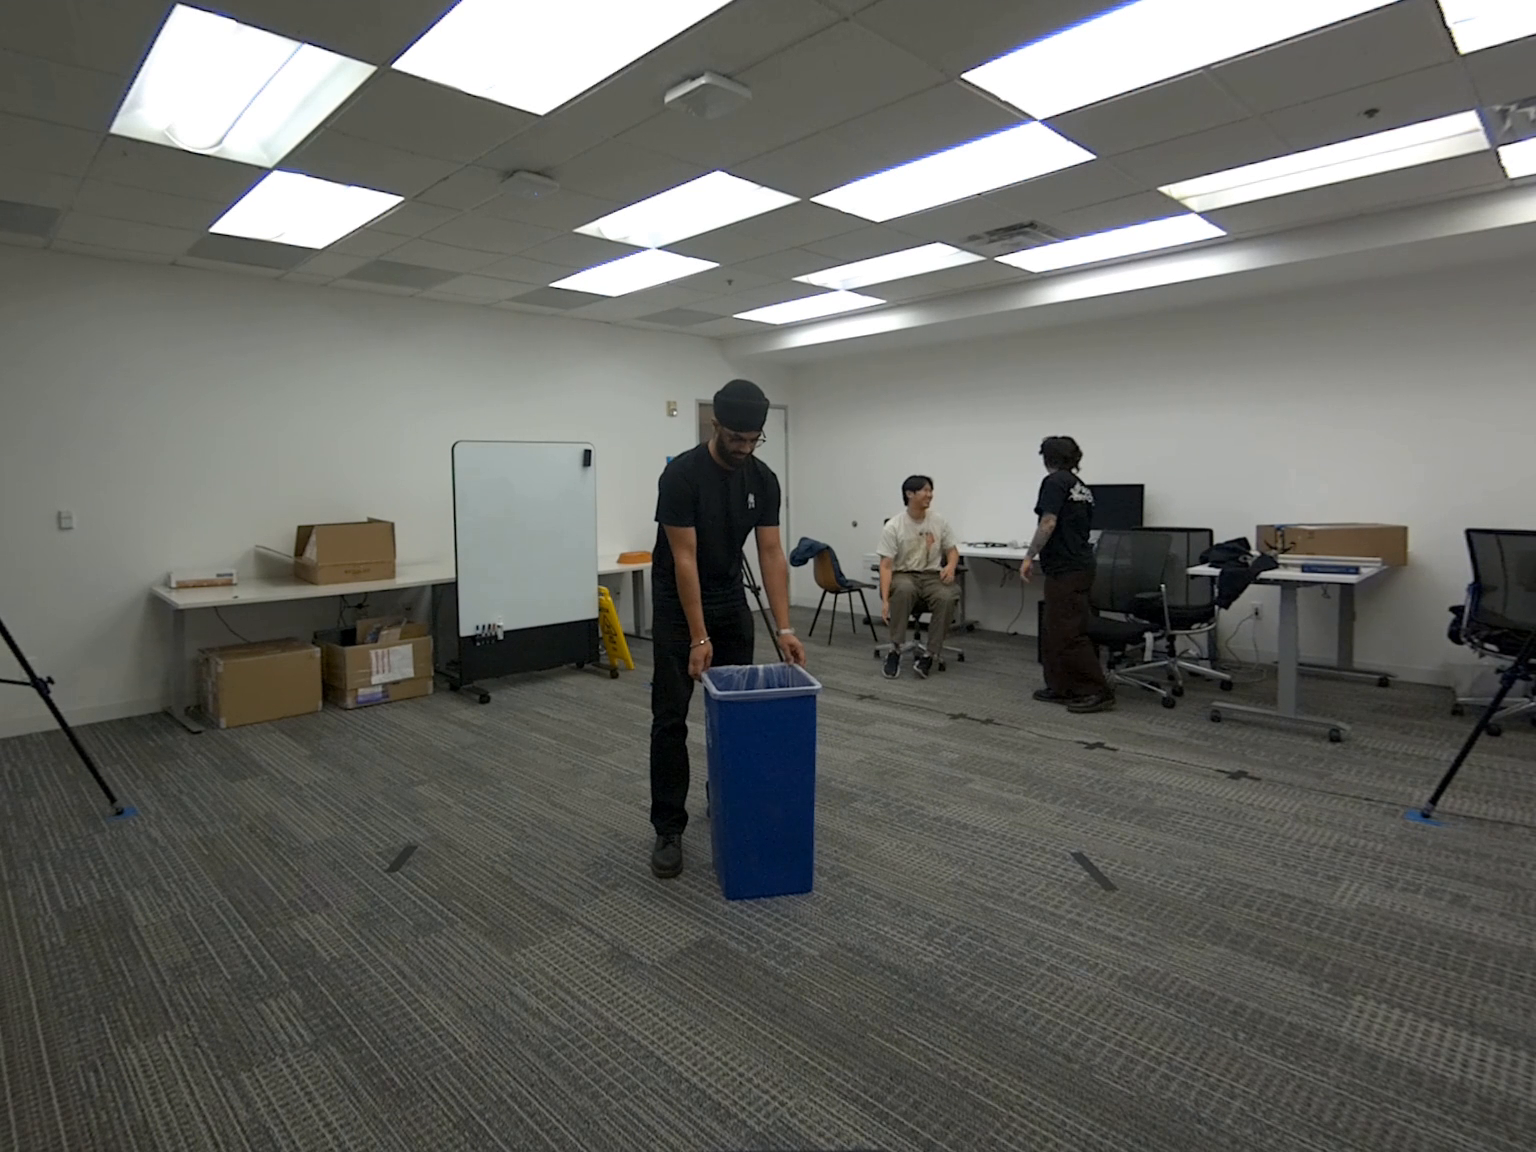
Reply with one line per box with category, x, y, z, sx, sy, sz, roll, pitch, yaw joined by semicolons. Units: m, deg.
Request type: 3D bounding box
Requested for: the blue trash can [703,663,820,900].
blue trash can;-0.040;0.701;2.984;0.374;0.711;0.379;-2;5;-11
